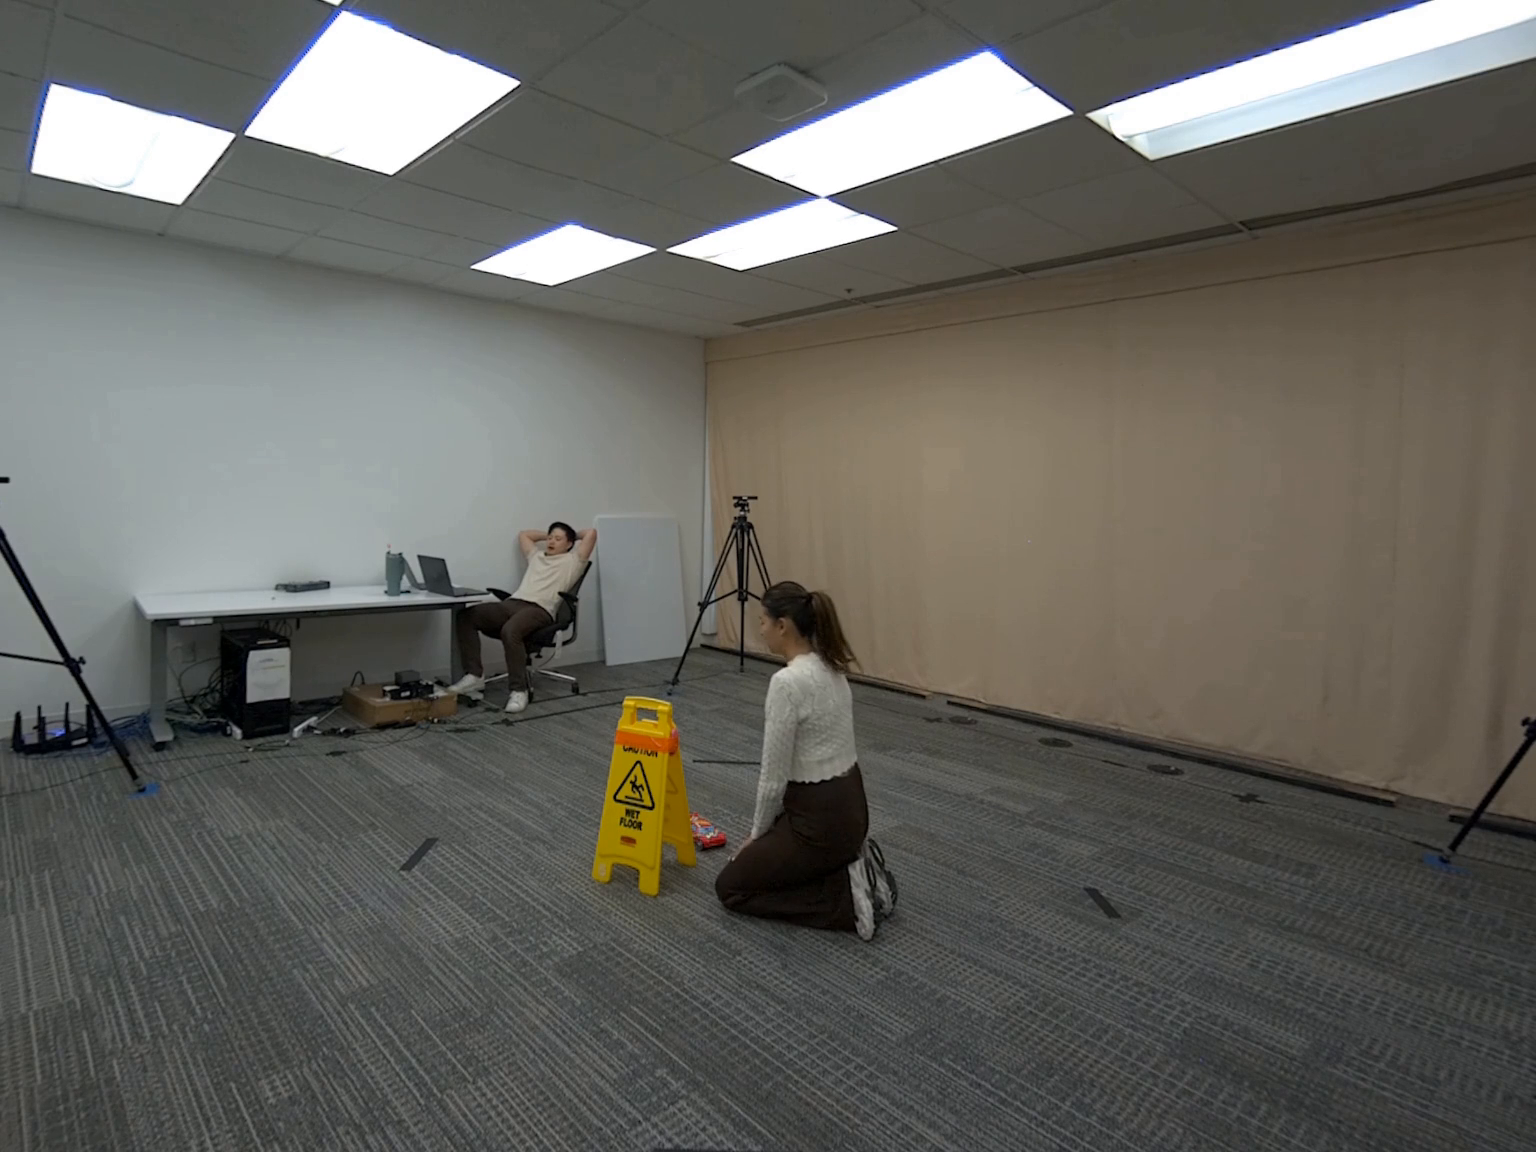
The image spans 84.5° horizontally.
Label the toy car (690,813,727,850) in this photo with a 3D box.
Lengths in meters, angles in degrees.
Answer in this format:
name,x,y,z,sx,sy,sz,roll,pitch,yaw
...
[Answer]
name,x,y,z,sx,sy,sz,roll,pitch,yaw
toy car,-0.281,1.038,3.422,0.127,0.082,0.262,-1,16,-33
